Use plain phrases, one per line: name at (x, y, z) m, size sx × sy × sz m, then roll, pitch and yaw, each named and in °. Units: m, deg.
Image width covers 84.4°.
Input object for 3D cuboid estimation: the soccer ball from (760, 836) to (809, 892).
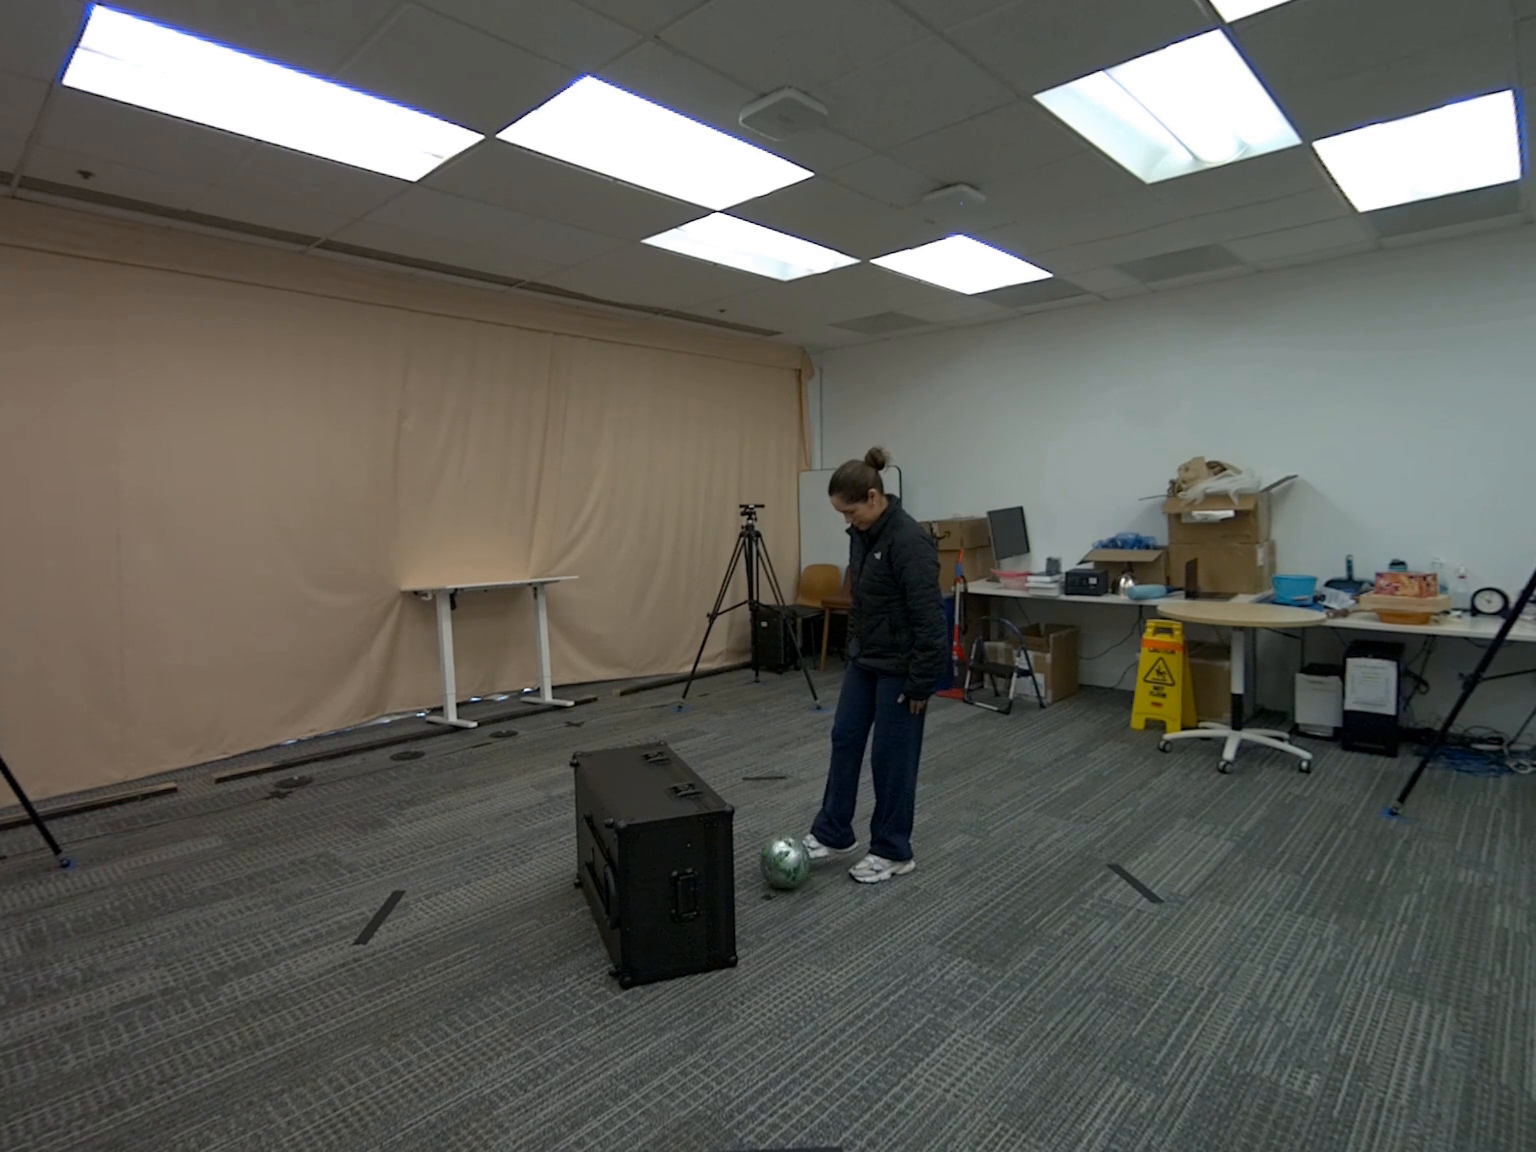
soccer ball at (0.063, 1.040, 3.053) m, size 0.187 × 0.187 × 0.188 m, roll -1°, pitch 4°, yaw -2°
